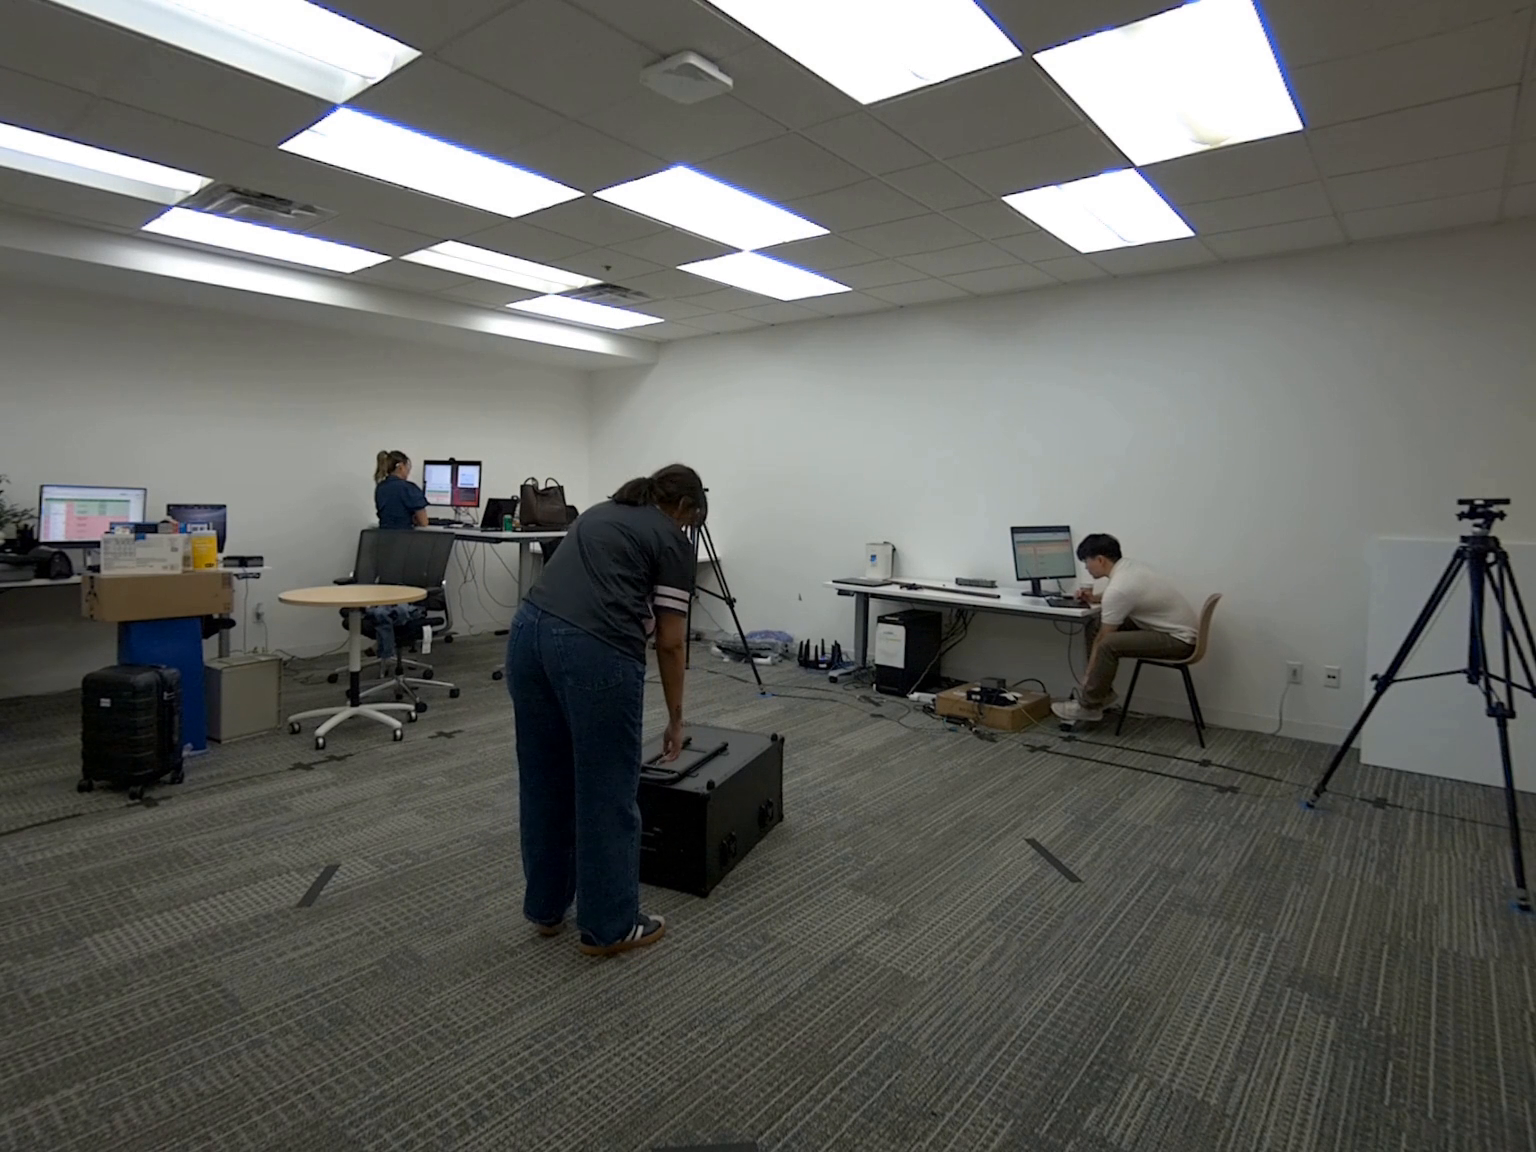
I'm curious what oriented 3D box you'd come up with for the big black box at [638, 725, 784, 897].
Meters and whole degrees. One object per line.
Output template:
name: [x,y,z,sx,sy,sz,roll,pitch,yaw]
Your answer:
big black box: [-0.292,0.847,3.360,0.533,0.395,0.844,3,5,21]
